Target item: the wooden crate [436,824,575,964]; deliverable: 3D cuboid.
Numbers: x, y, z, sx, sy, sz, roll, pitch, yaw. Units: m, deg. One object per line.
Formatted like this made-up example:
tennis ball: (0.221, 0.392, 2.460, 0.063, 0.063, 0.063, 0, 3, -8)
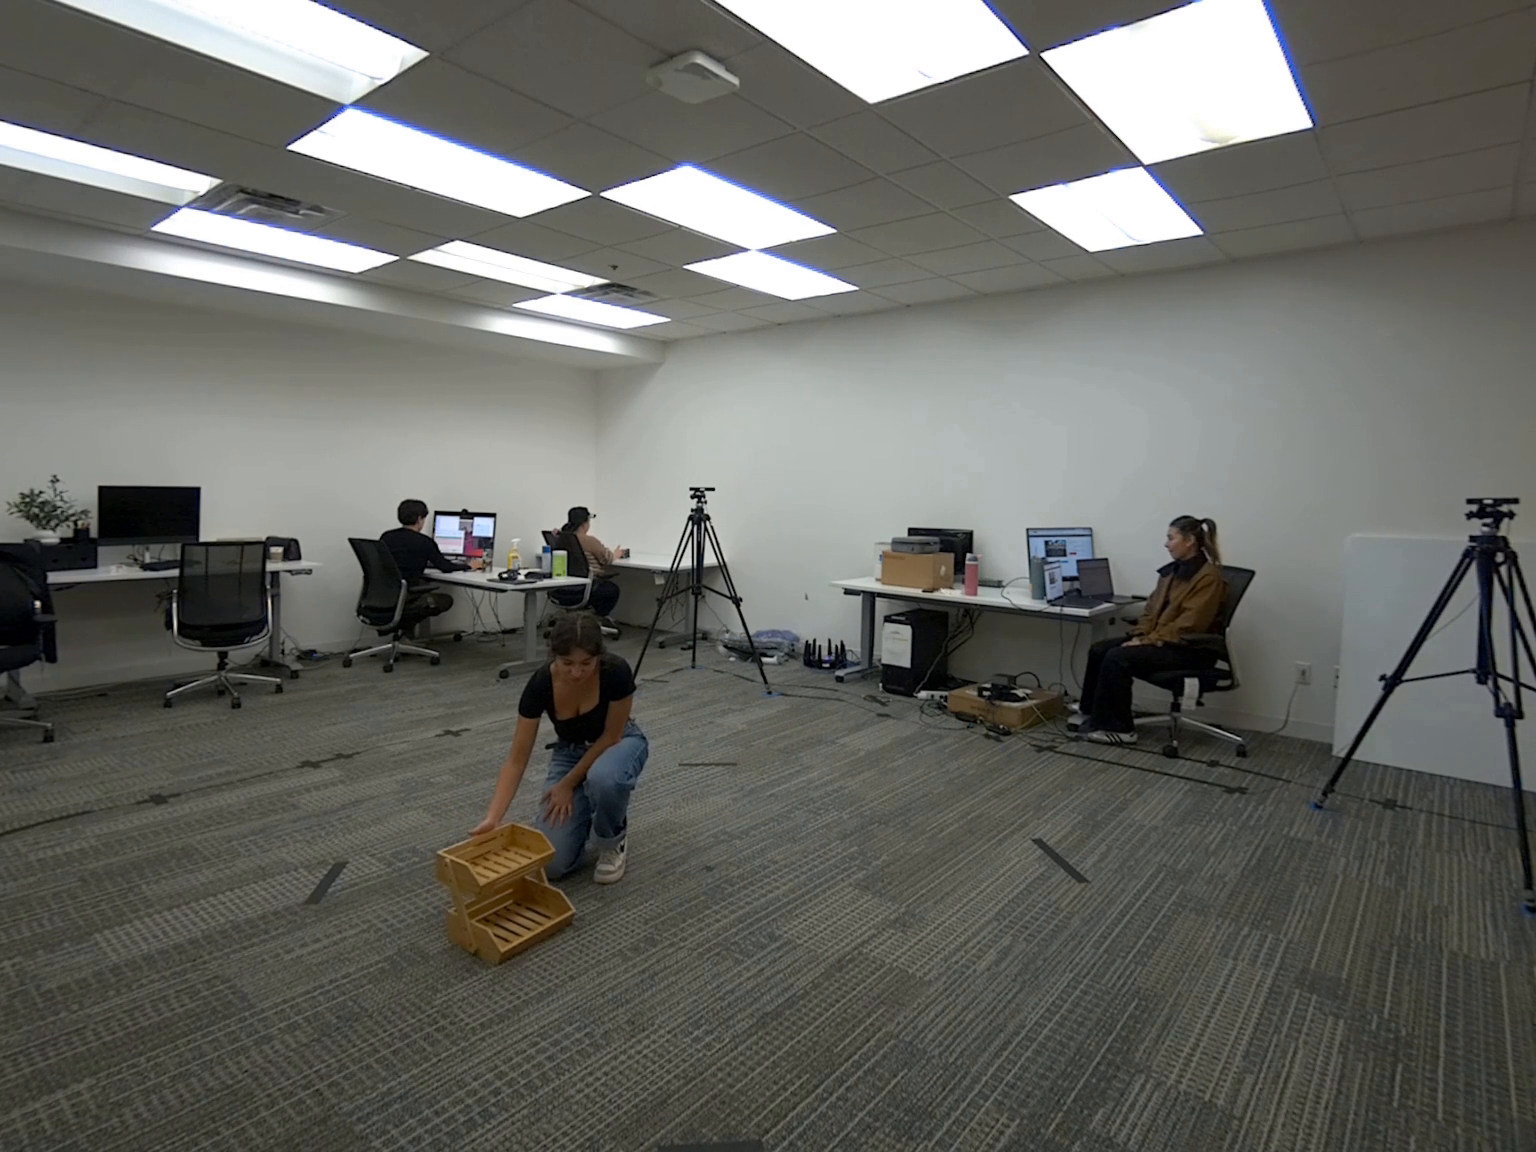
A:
wooden crate: (-0.823, 0.968, 2.646, 0.311, 0.272, 0.315, 3, 5, 34)
